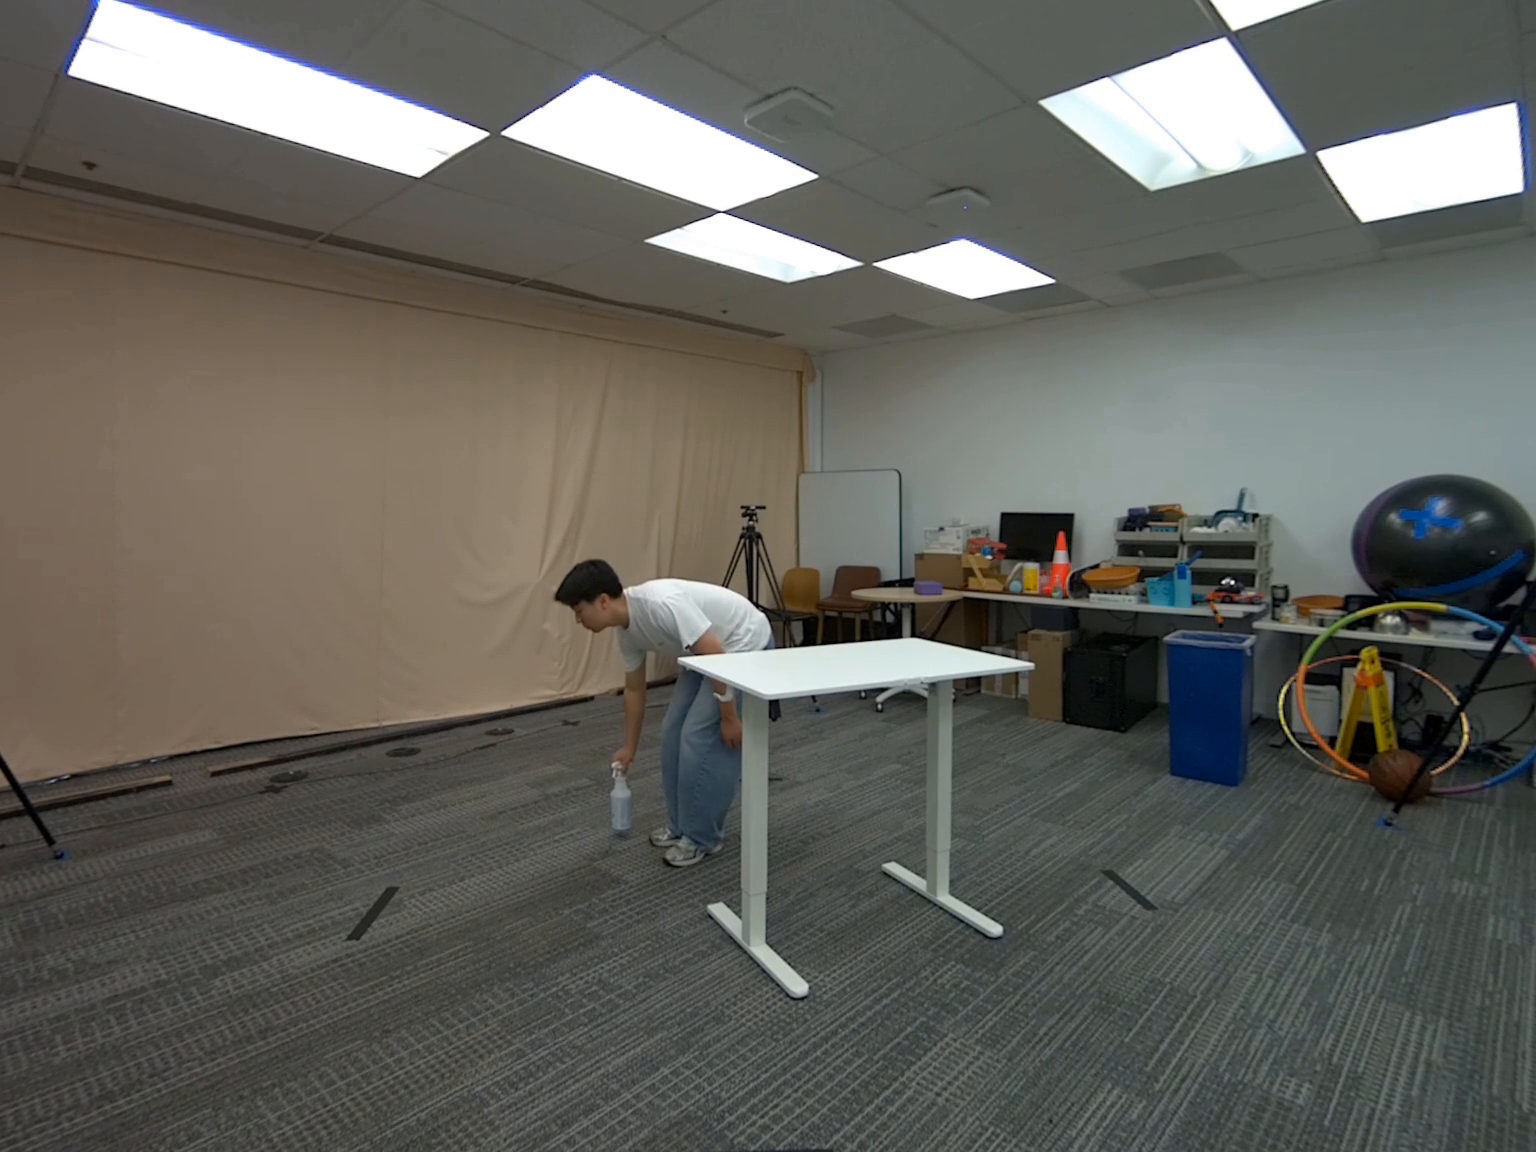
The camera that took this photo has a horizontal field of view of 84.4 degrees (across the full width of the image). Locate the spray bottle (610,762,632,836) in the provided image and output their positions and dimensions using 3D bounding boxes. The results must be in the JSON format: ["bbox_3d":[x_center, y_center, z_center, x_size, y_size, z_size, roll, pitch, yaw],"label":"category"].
[{"bbox_3d":[-0.621,0.915,3.550,0.087,0.296,0.090,-7,8,-39],"label":"spray bottle"}]
